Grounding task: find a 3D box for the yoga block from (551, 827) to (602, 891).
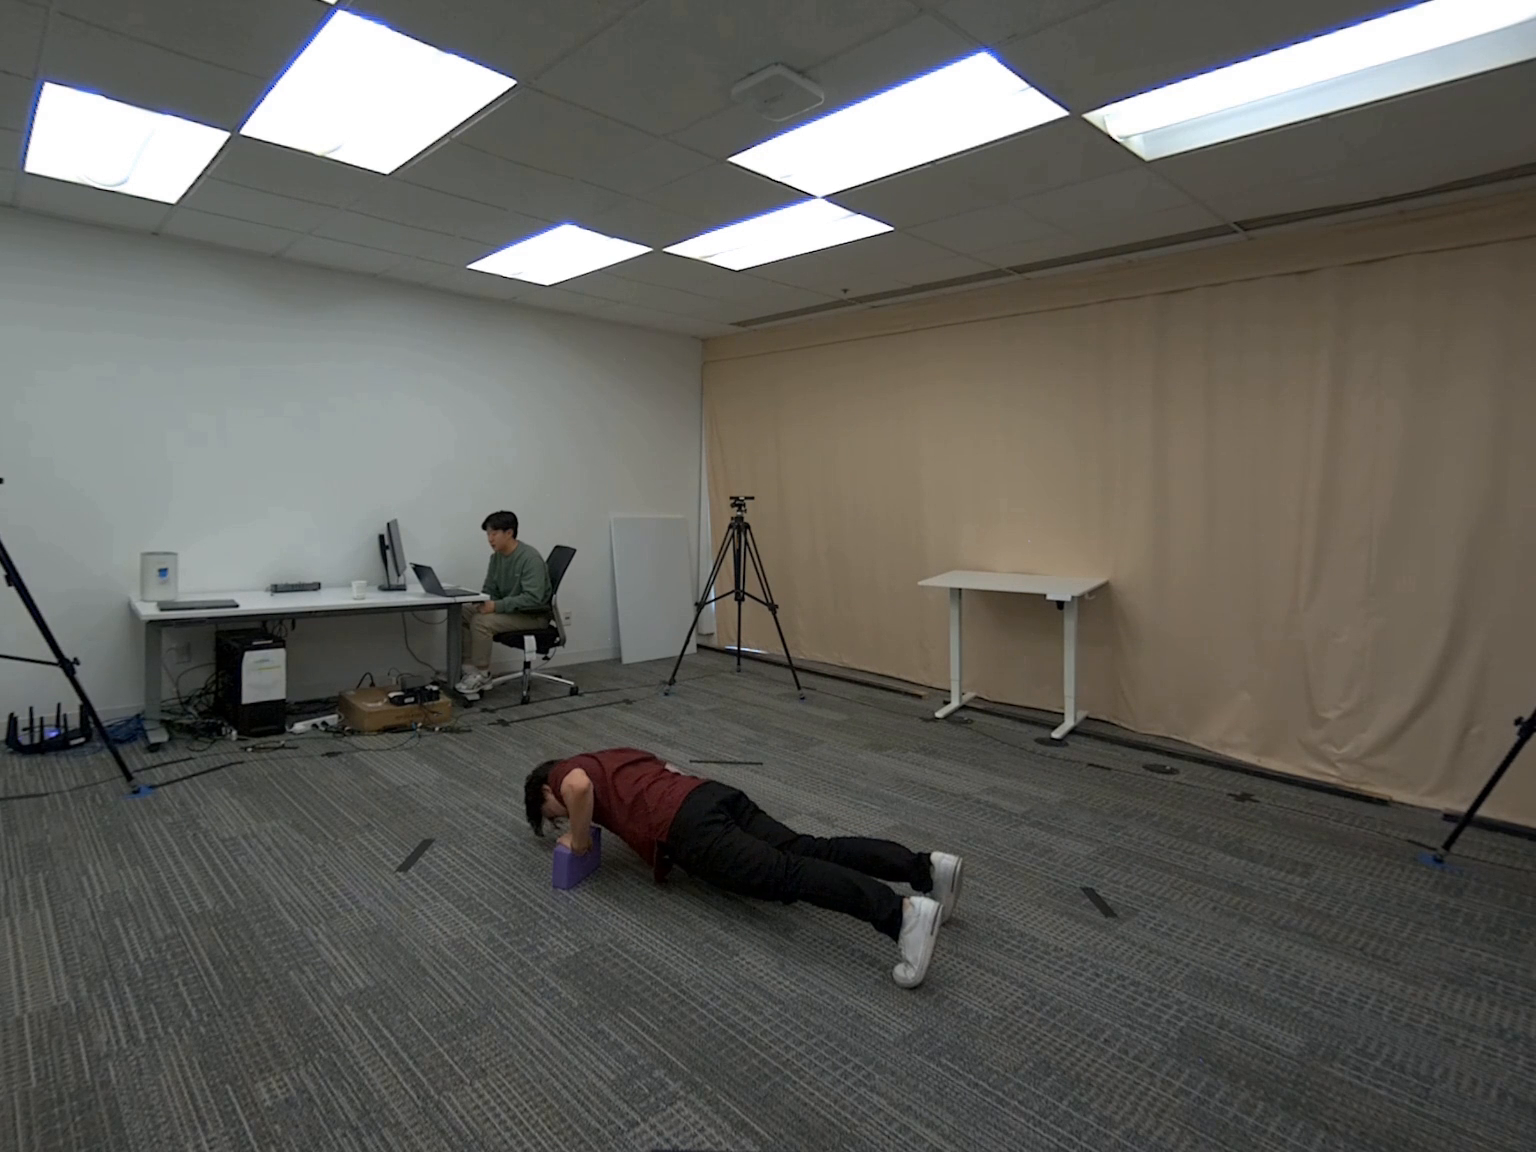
[{"bbox_3d":[-0.692,1.012,3.064,0.077,0.148,0.226,5,5,17],"label":"yoga block"}]
